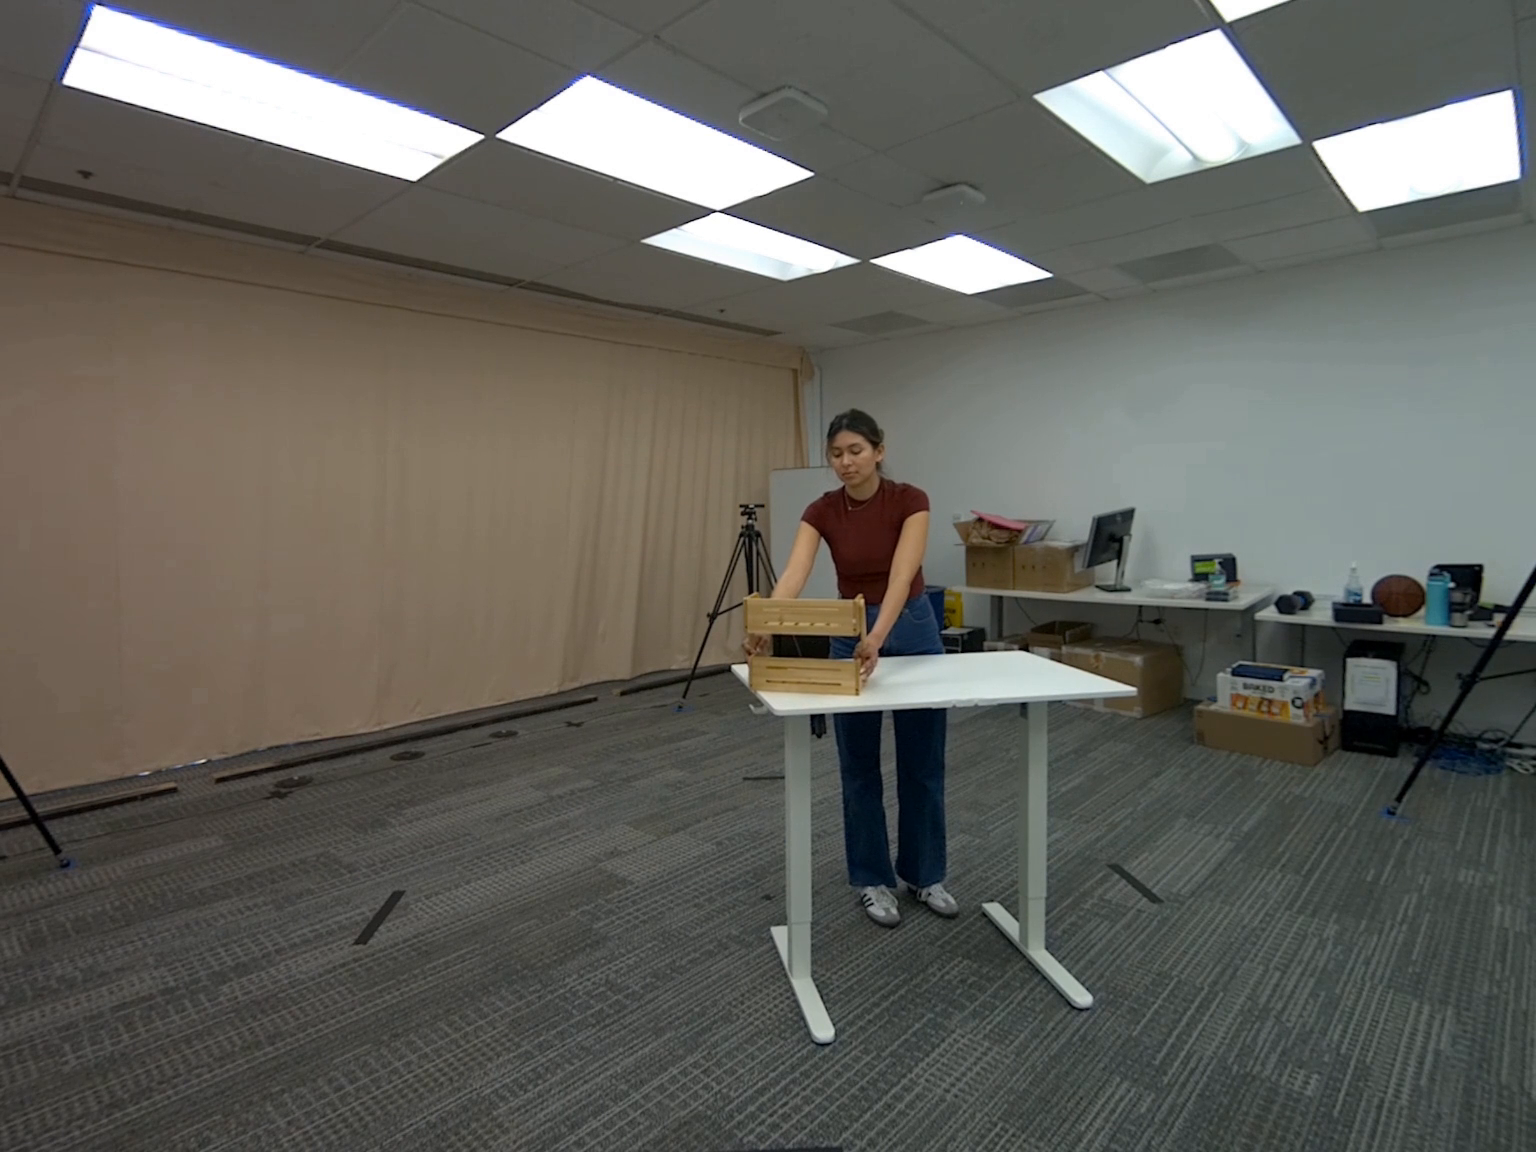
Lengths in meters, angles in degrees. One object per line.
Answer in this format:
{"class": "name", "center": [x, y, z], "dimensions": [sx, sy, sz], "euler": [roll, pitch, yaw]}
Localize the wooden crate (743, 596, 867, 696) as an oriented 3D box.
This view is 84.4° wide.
{"class": "wooden crate", "center": [0.123, 0.175, 2.364], "dimensions": [0.329, 0.272, 0.299], "euler": [0, 4, 12]}
